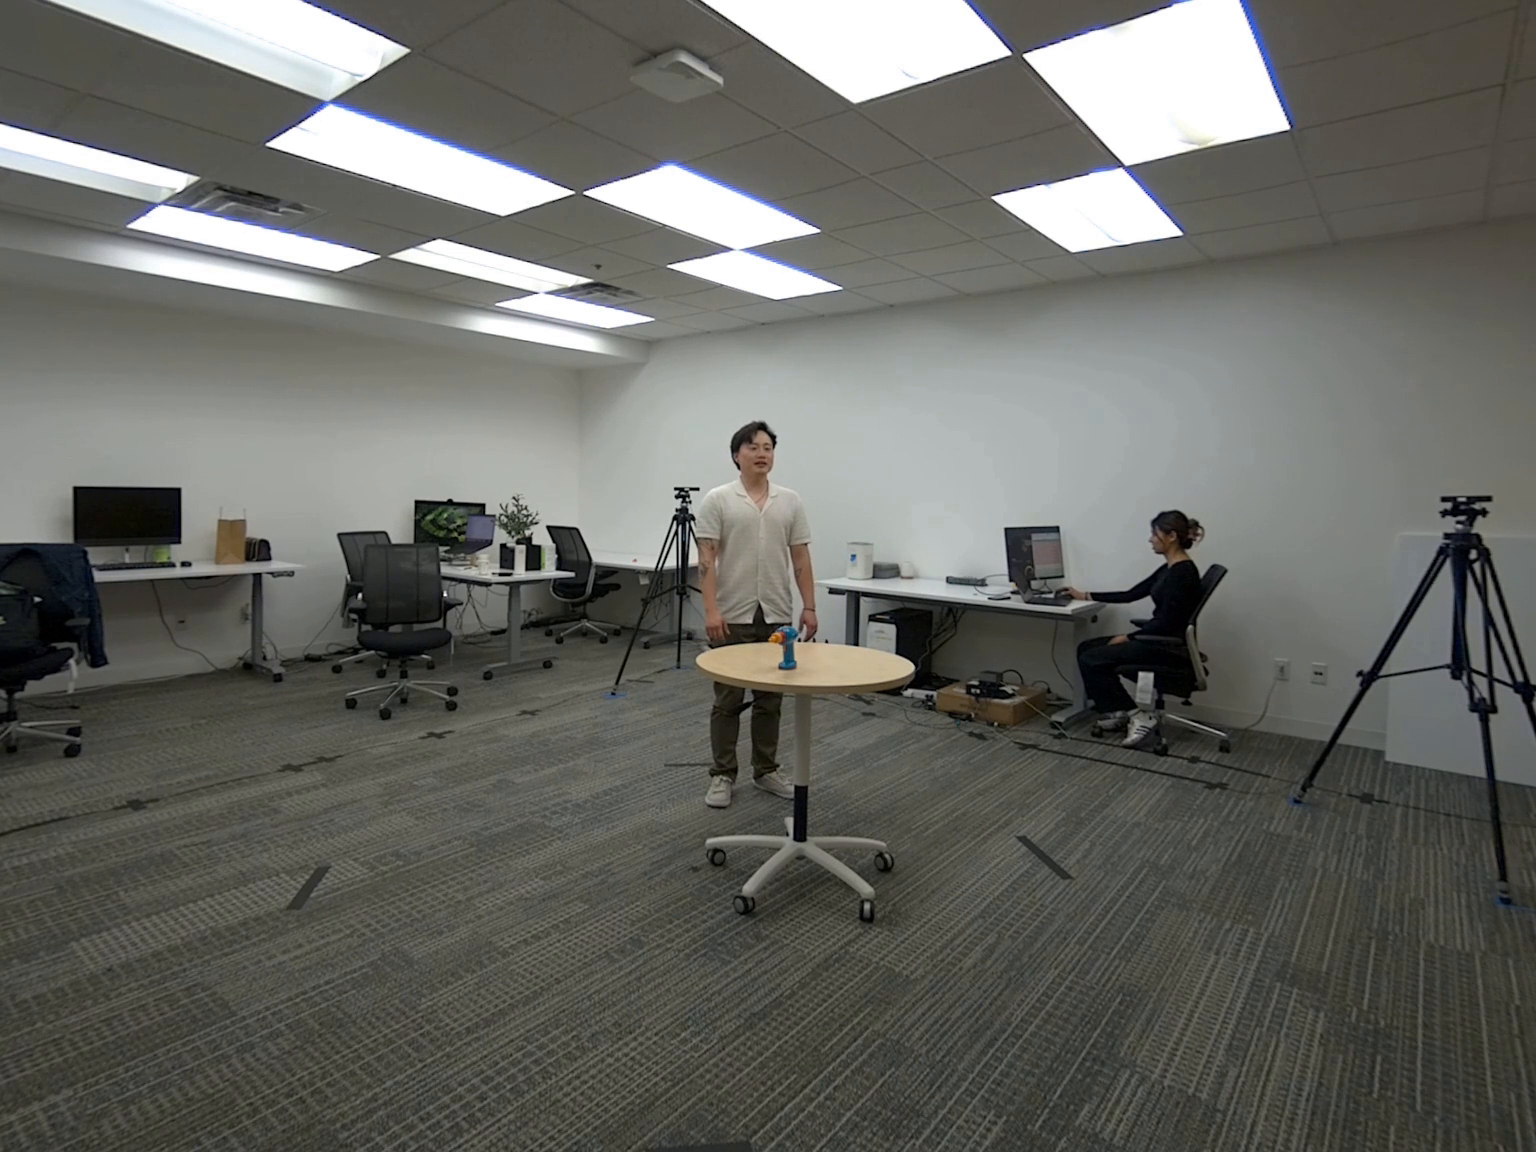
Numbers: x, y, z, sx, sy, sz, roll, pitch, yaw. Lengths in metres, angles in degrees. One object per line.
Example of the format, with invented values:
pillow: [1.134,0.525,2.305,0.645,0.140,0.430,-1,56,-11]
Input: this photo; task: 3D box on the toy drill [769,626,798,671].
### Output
toy drill: [0.039,0.240,2.856,0.063,0.145,0.165,1,5,30]
